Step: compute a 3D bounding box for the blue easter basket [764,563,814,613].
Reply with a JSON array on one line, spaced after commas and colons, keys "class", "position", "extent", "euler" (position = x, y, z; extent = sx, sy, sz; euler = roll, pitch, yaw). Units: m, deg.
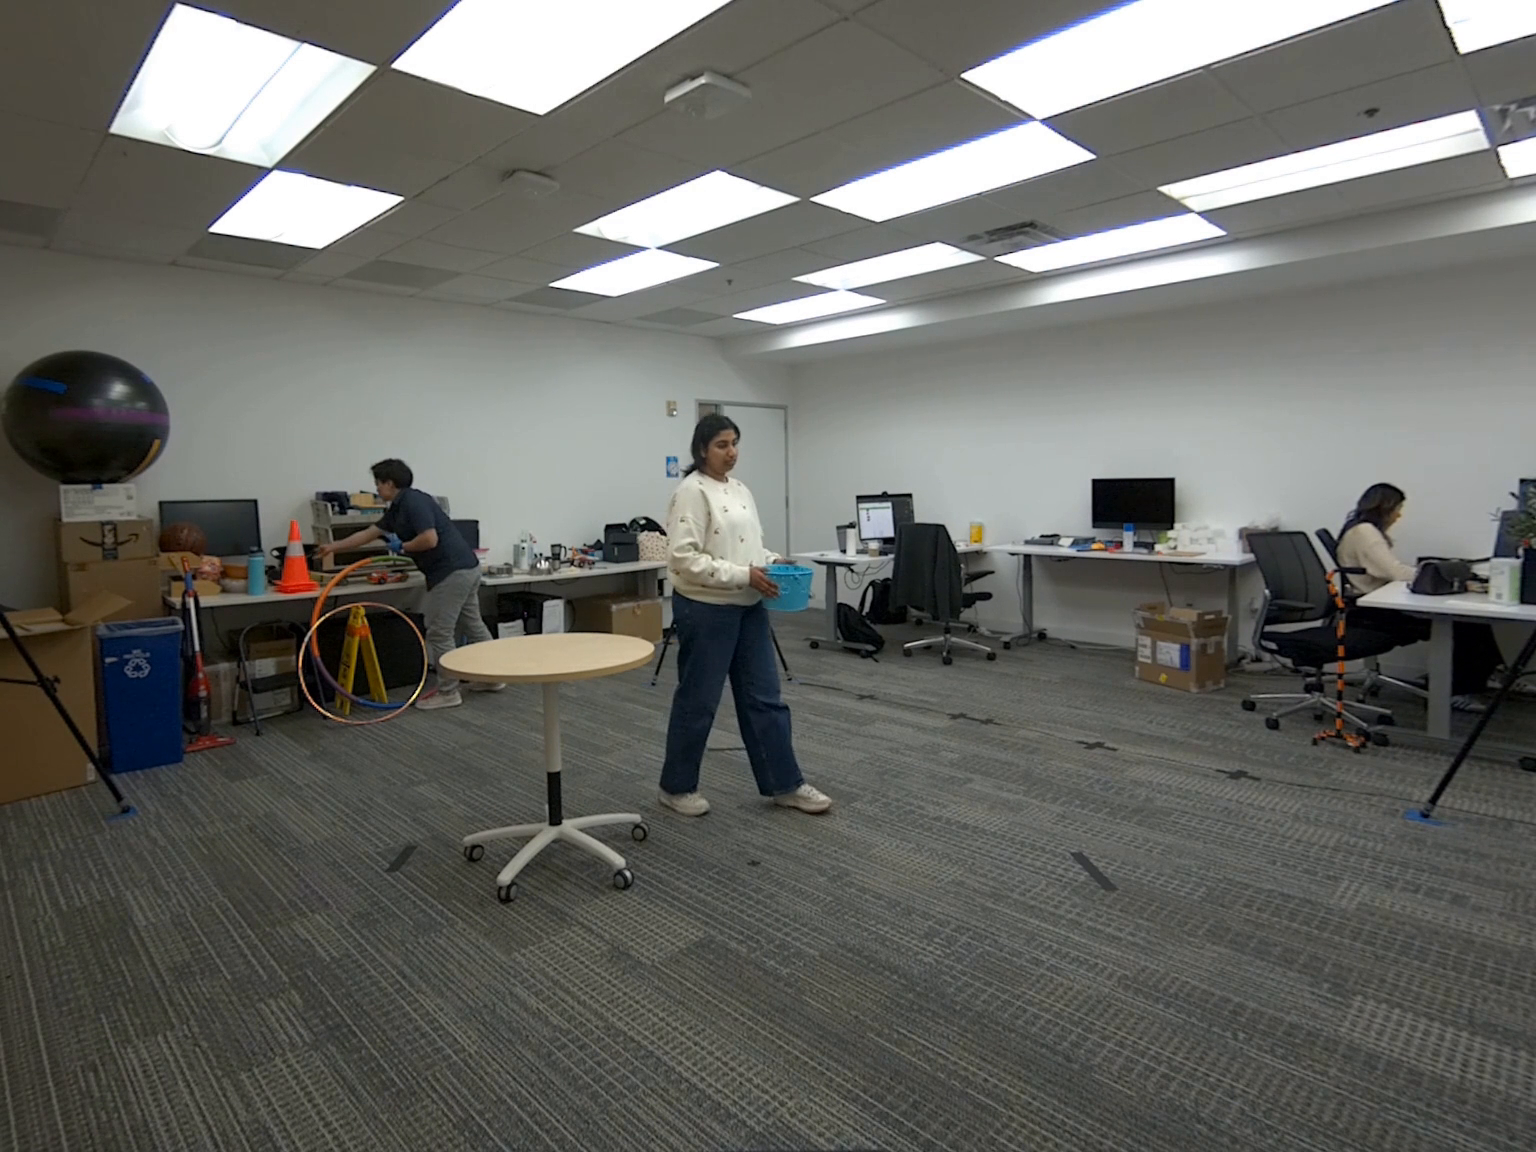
[{"class": "blue easter basket", "position": [0.073, 0.043, 3.441], "extent": [0.243, 0.155, 0.245], "euler": [-2, 9, -1]}]
